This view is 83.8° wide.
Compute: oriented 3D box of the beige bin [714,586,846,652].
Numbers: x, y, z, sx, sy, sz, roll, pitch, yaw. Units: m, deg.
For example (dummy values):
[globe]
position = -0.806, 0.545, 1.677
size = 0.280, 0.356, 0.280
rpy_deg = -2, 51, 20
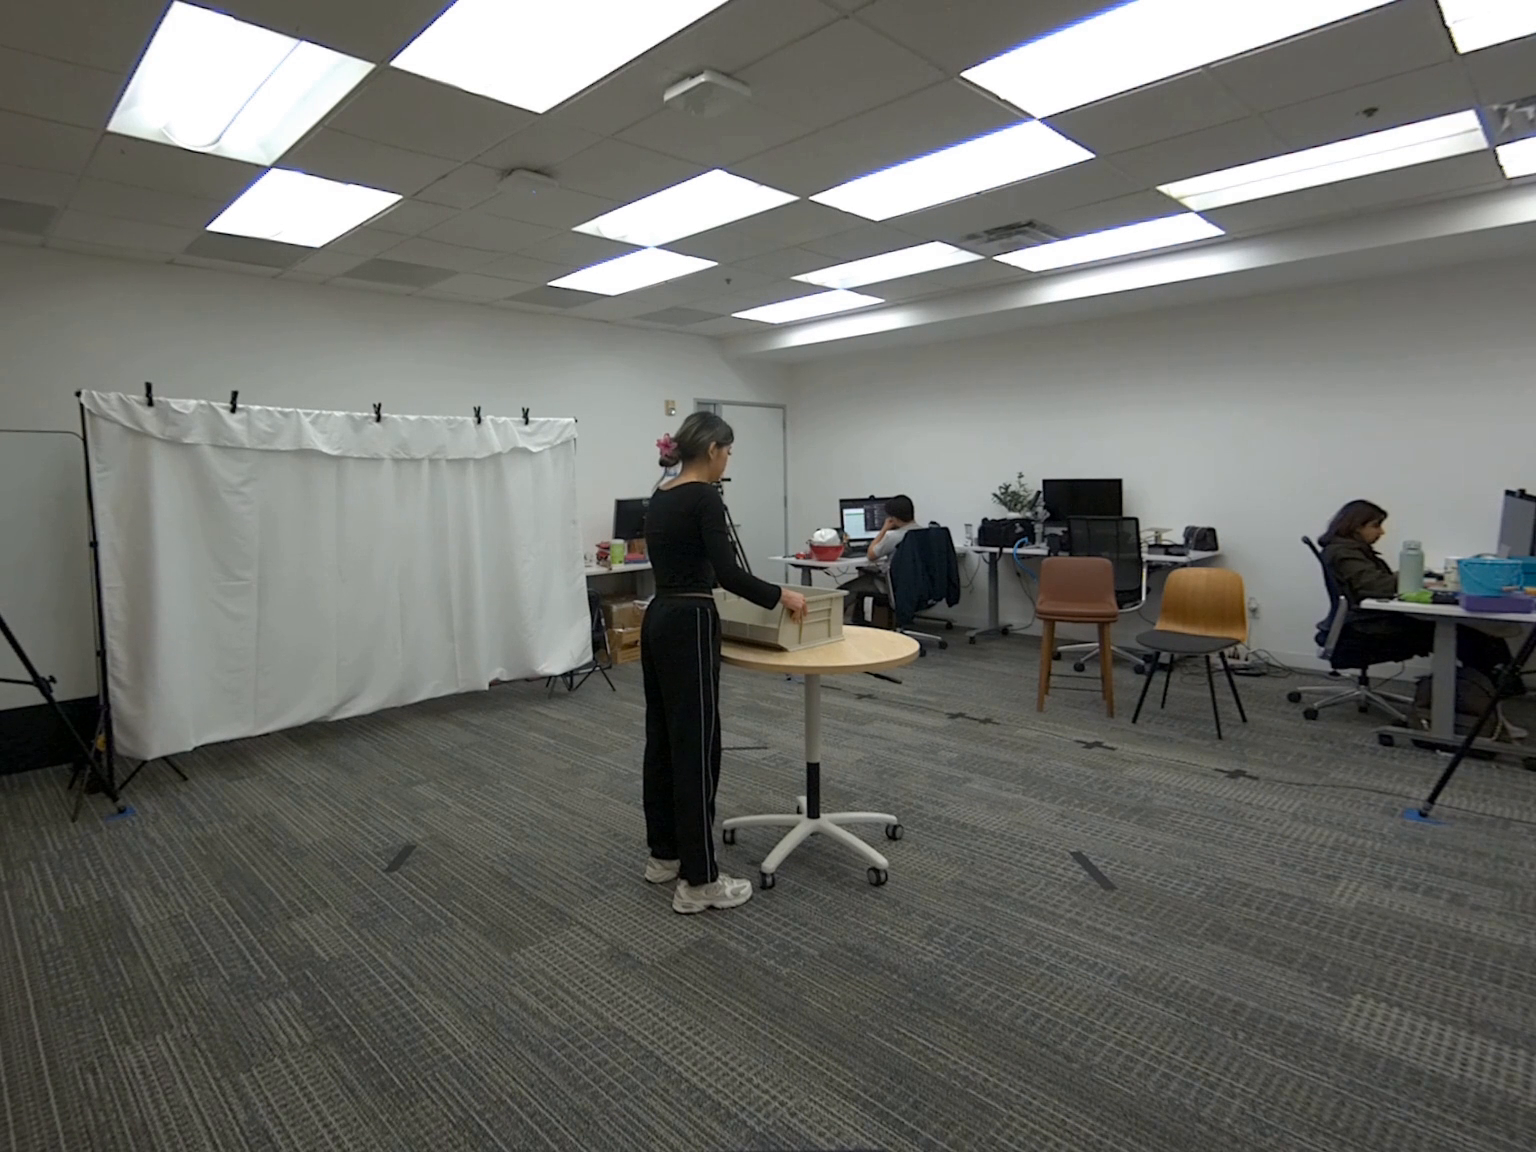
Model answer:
[beige bin]
position = 0.016, 0.146, 3.189
size = 0.367, 0.188, 0.435
rpy_deg = -3, 5, -44
